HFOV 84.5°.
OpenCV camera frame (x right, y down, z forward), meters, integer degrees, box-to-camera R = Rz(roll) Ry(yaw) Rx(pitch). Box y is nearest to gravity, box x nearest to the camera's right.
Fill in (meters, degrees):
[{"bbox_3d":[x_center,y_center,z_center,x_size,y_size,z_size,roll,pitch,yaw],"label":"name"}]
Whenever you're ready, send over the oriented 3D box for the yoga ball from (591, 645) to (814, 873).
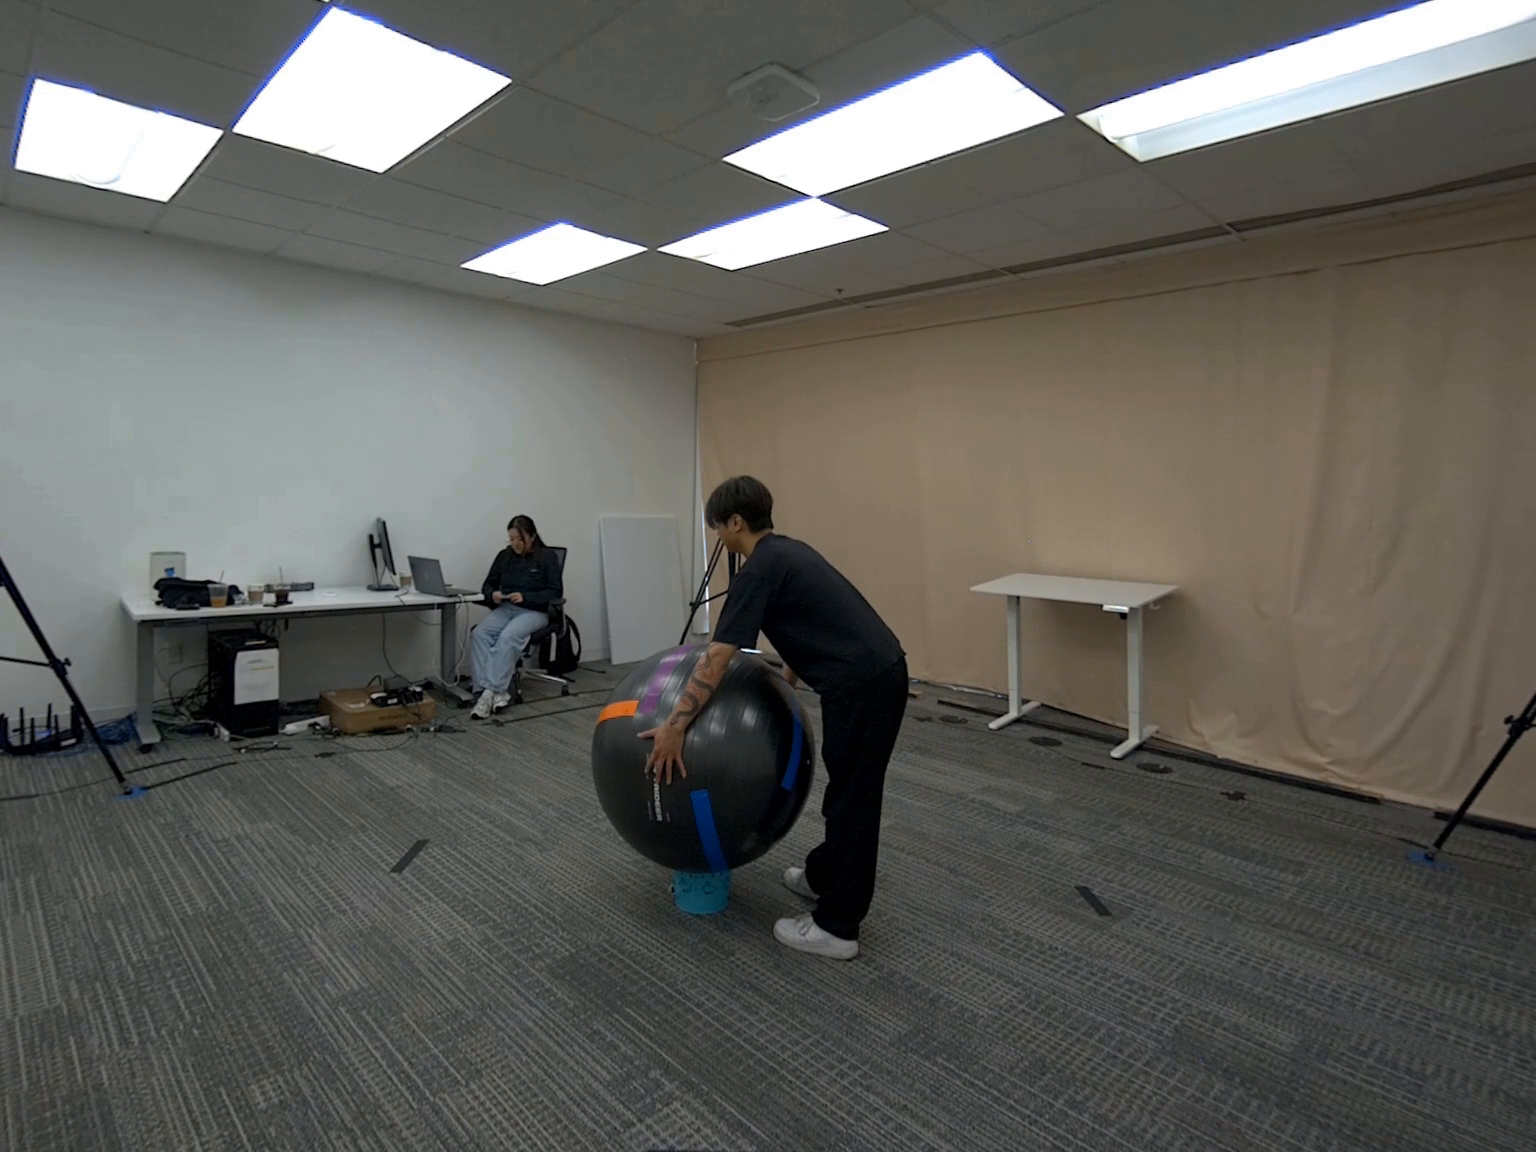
[{"bbox_3d":[-0.228,0.612,2.873,0.757,0.756,0.761,1,4,-1],"label":"yoga ball"}]
